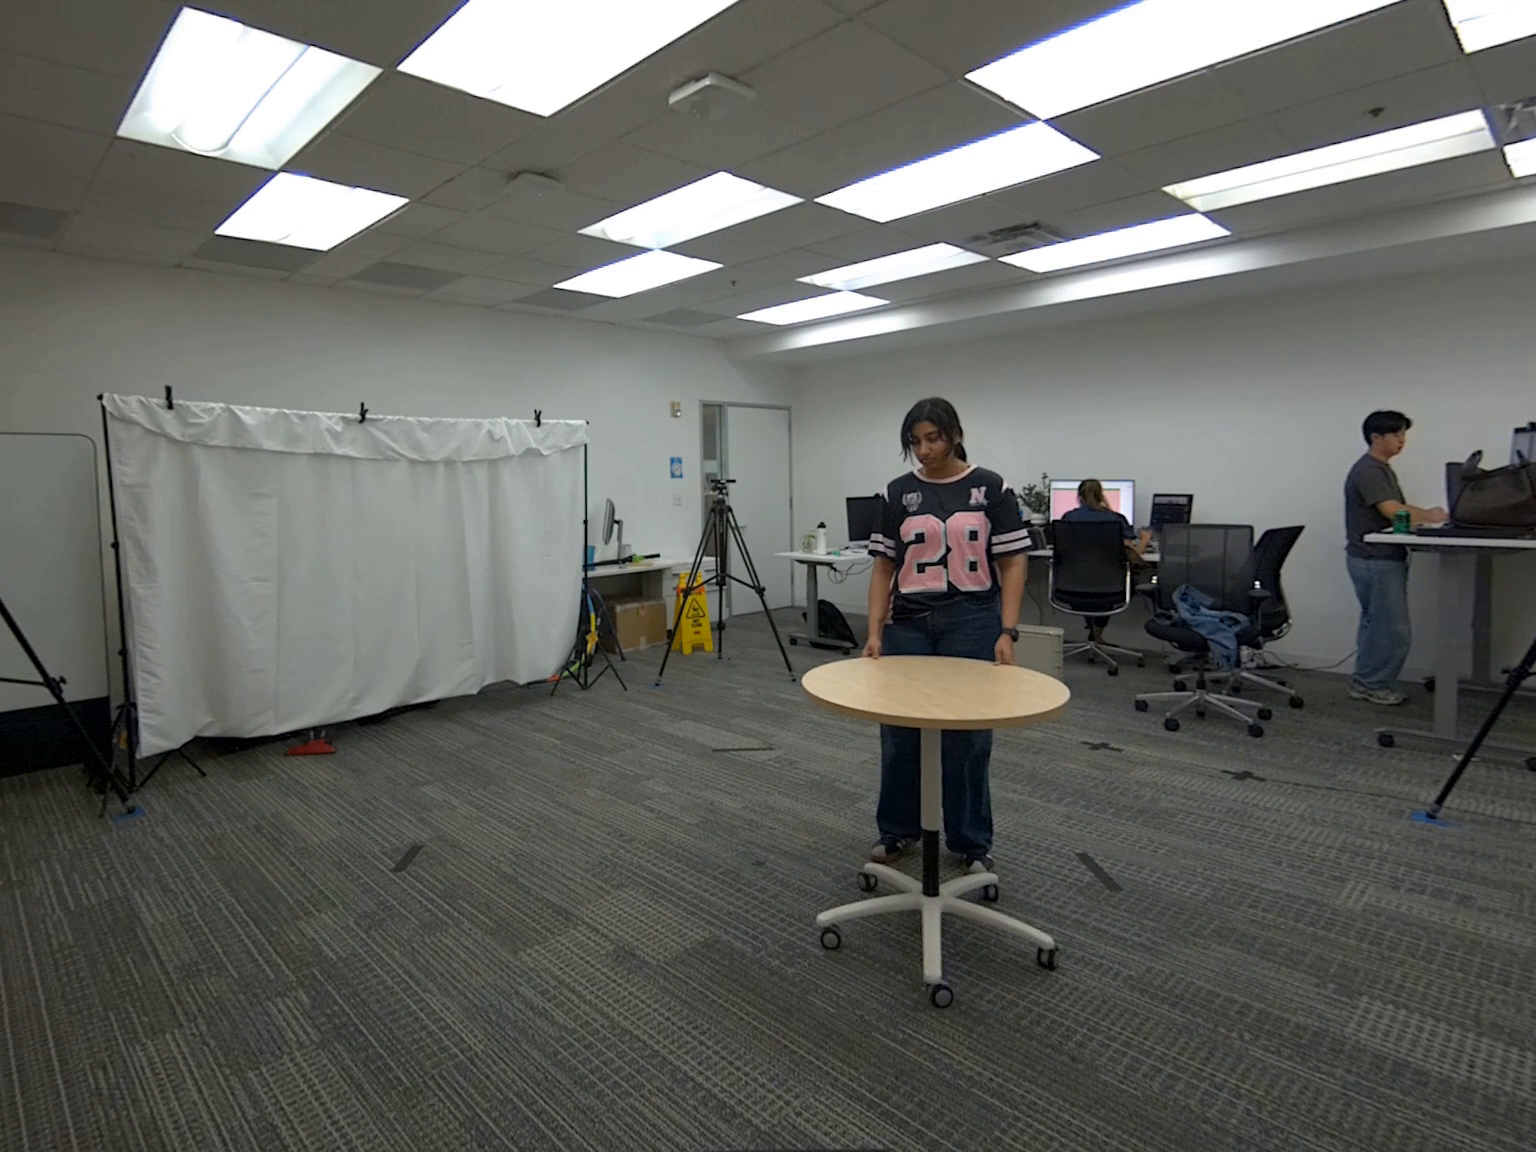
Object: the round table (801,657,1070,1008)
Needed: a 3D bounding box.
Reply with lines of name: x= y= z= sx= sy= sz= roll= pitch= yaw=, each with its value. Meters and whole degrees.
round table: x=0.484 y=0.713 z=2.560 sx=0.763 sy=0.791 sz=0.768 roll=-1 pitch=5 yaw=-2
